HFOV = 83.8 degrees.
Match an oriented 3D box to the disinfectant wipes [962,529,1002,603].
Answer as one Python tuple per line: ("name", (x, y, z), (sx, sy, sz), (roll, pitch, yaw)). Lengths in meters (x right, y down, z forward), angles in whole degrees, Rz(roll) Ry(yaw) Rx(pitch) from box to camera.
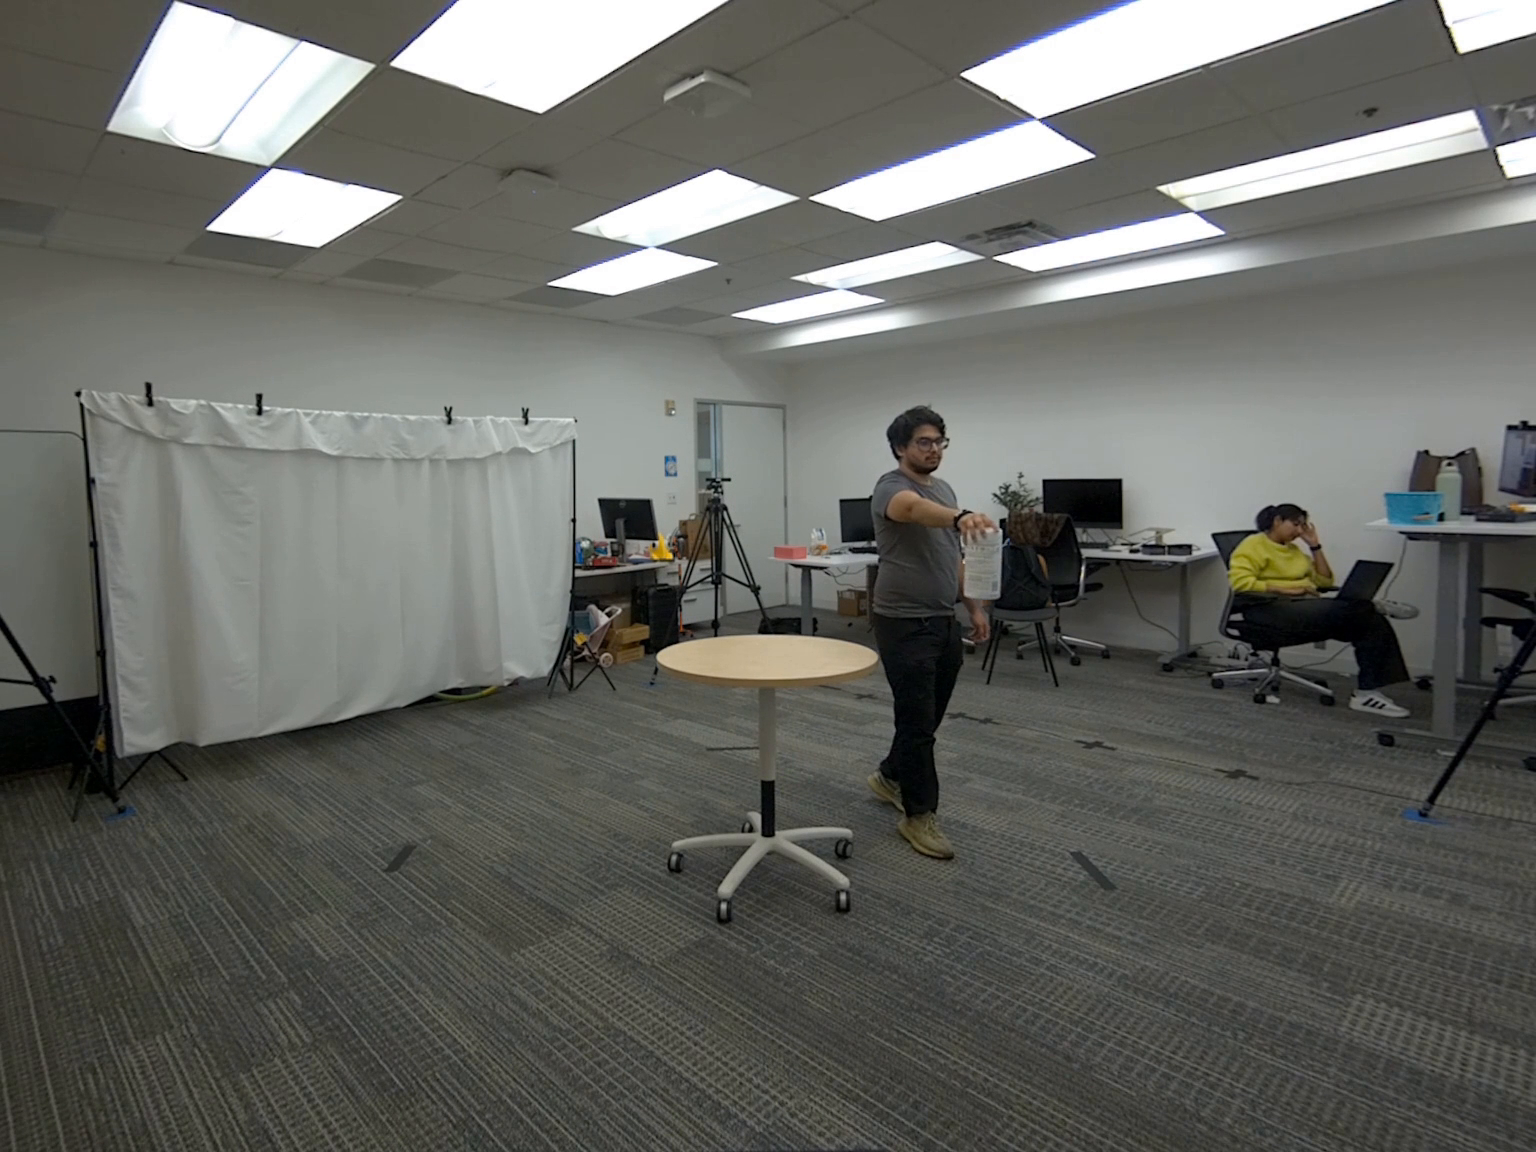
("disinfectant wipes", (0.667, -0.039, 2.647), (0.118, 0.216, 0.119), (0, 8, -2))
